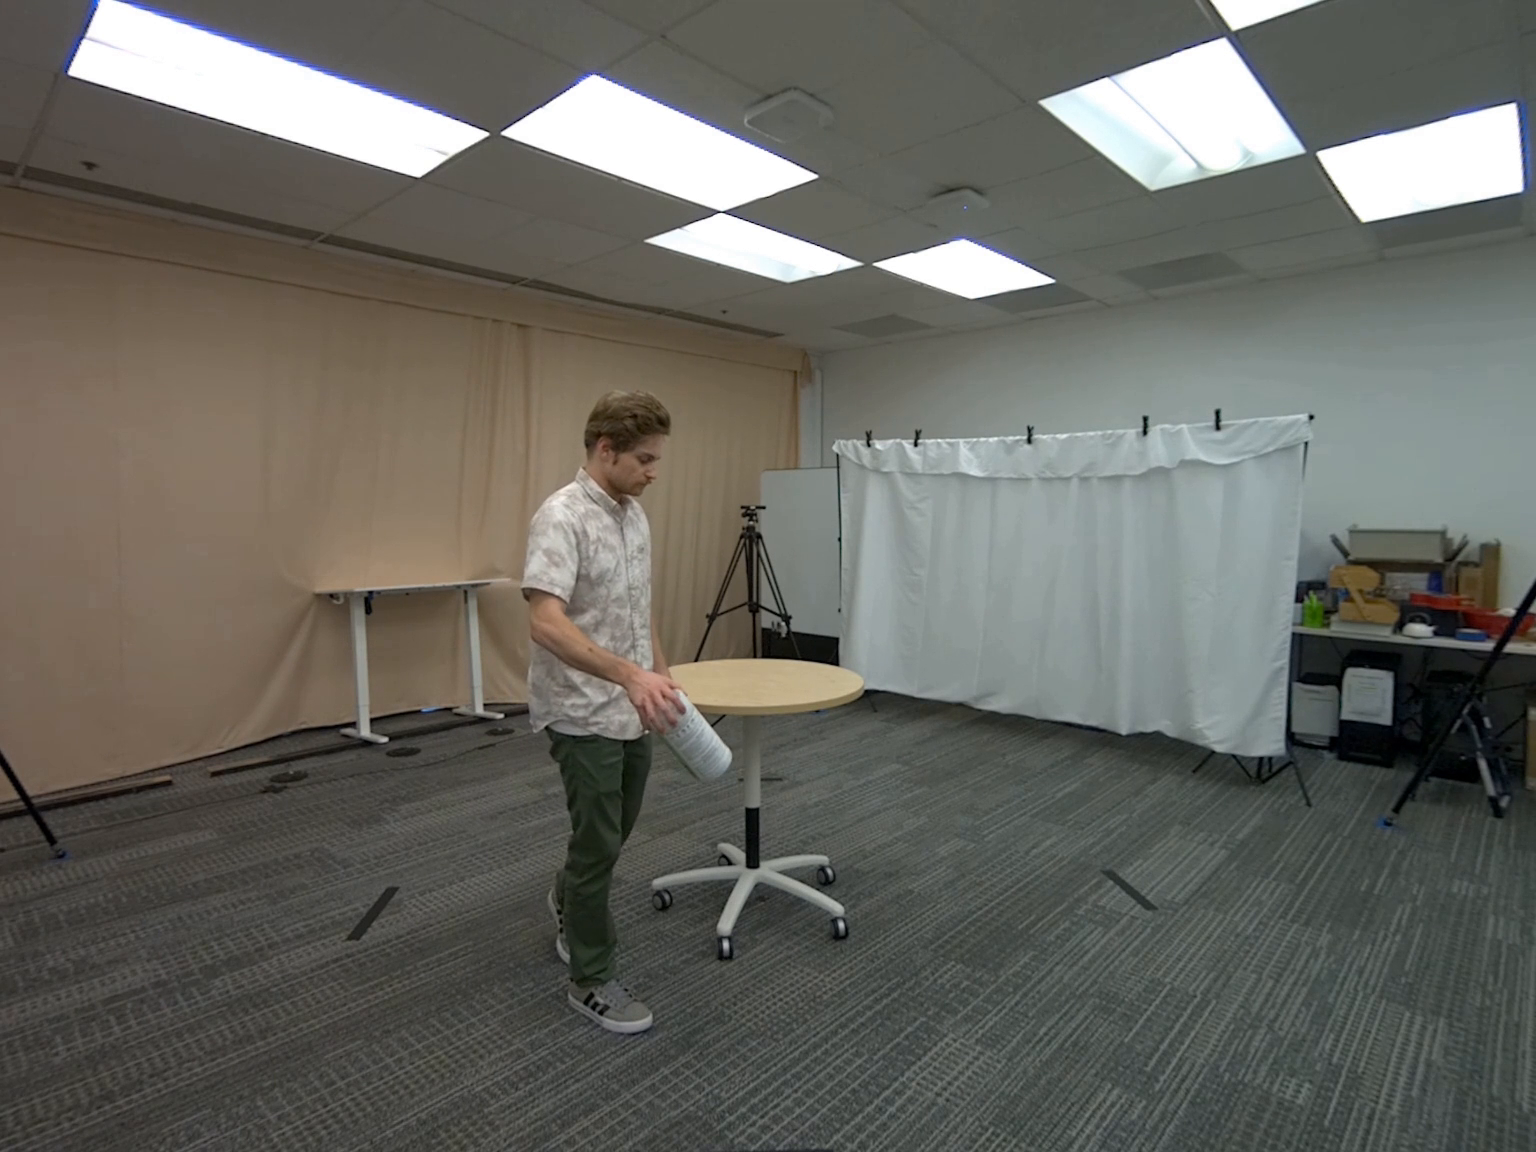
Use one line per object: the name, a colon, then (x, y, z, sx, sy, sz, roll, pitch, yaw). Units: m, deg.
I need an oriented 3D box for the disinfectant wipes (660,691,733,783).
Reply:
disinfectant wipes: (-0.181, 0.375, 1.970, 0.118, 0.213, 0.119, -32, 19, 11)
